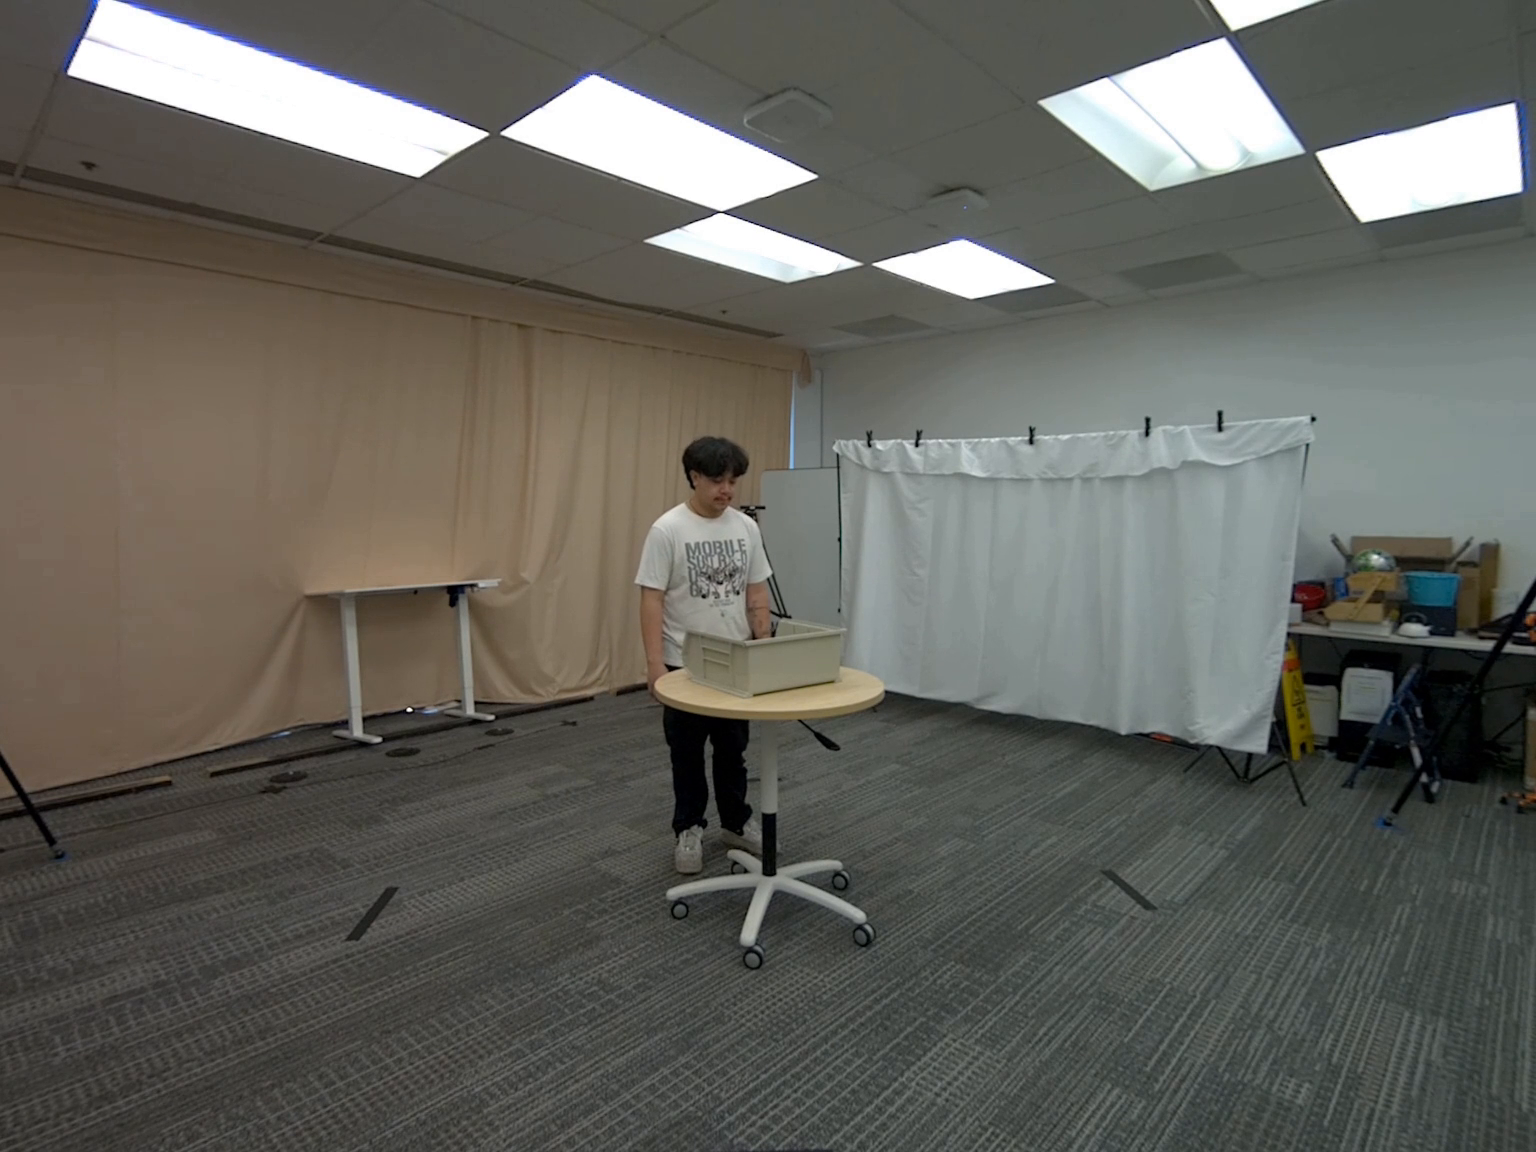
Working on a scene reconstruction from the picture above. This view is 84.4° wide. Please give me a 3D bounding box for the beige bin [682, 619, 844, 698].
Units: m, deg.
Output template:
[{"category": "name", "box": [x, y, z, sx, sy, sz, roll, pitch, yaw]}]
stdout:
[{"category": "beige bin", "box": [-0.015, 0.263, 2.861, 0.410, 0.188, 0.390, -2, 6, -37]}]
